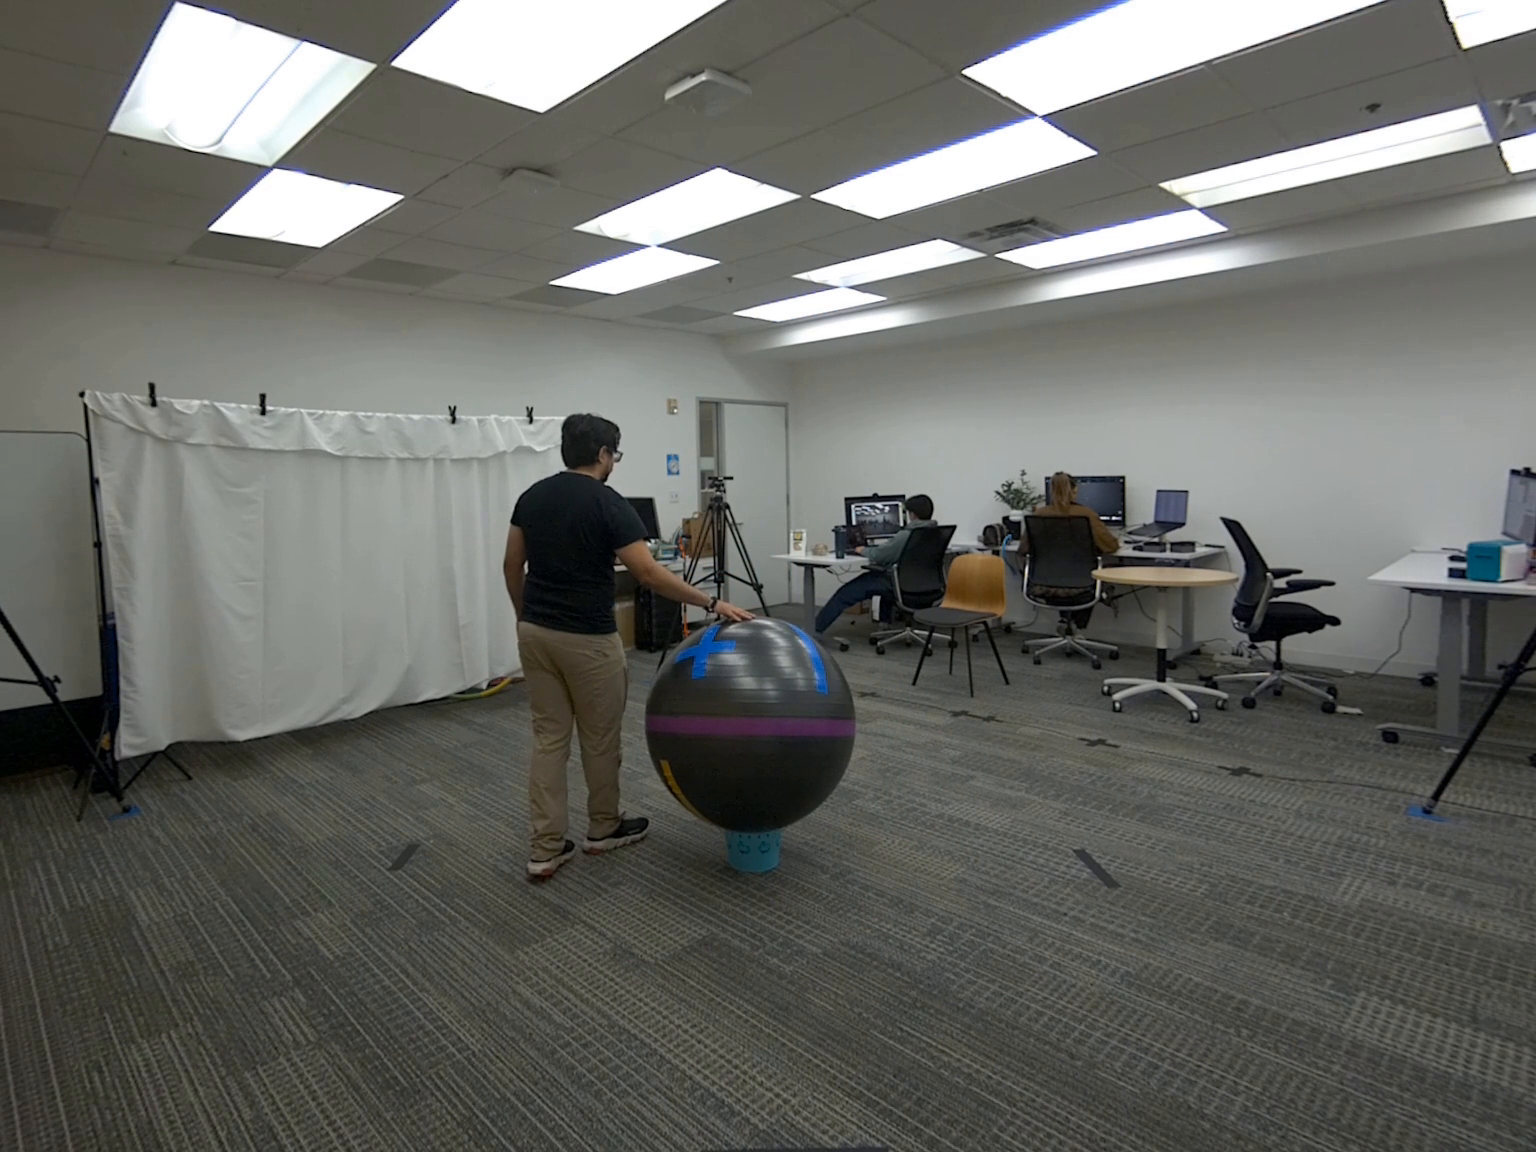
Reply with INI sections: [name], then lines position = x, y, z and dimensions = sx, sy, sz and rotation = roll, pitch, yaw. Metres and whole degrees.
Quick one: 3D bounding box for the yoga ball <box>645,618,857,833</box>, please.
[yoga ball]
position = -0.069, 0.527, 3.094
dimensions = 0.757, 0.755, 0.762
rotation = -1, 5, -2
